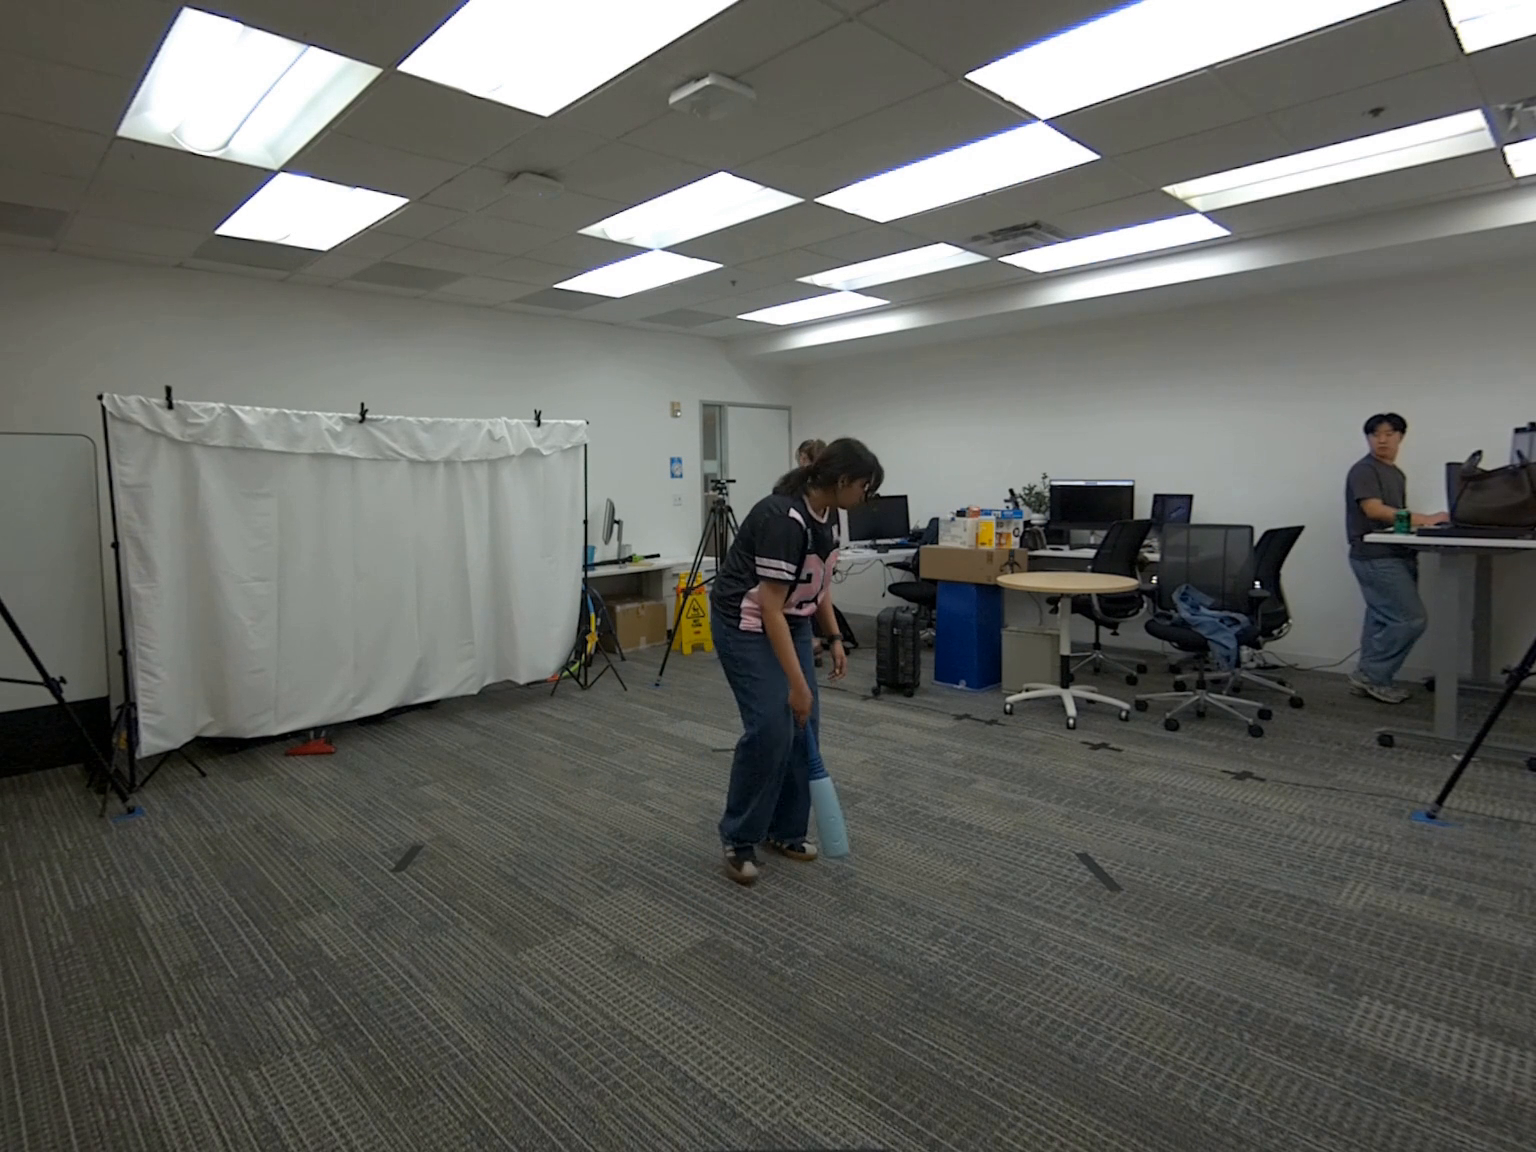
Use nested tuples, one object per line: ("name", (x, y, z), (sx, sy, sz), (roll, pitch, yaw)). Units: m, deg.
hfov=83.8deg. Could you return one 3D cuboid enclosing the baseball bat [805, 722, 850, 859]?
("baseball bat", (0.165, 0.658, 2.832), (0.089, 0.551, 0.088), (-12, -14, -4))
